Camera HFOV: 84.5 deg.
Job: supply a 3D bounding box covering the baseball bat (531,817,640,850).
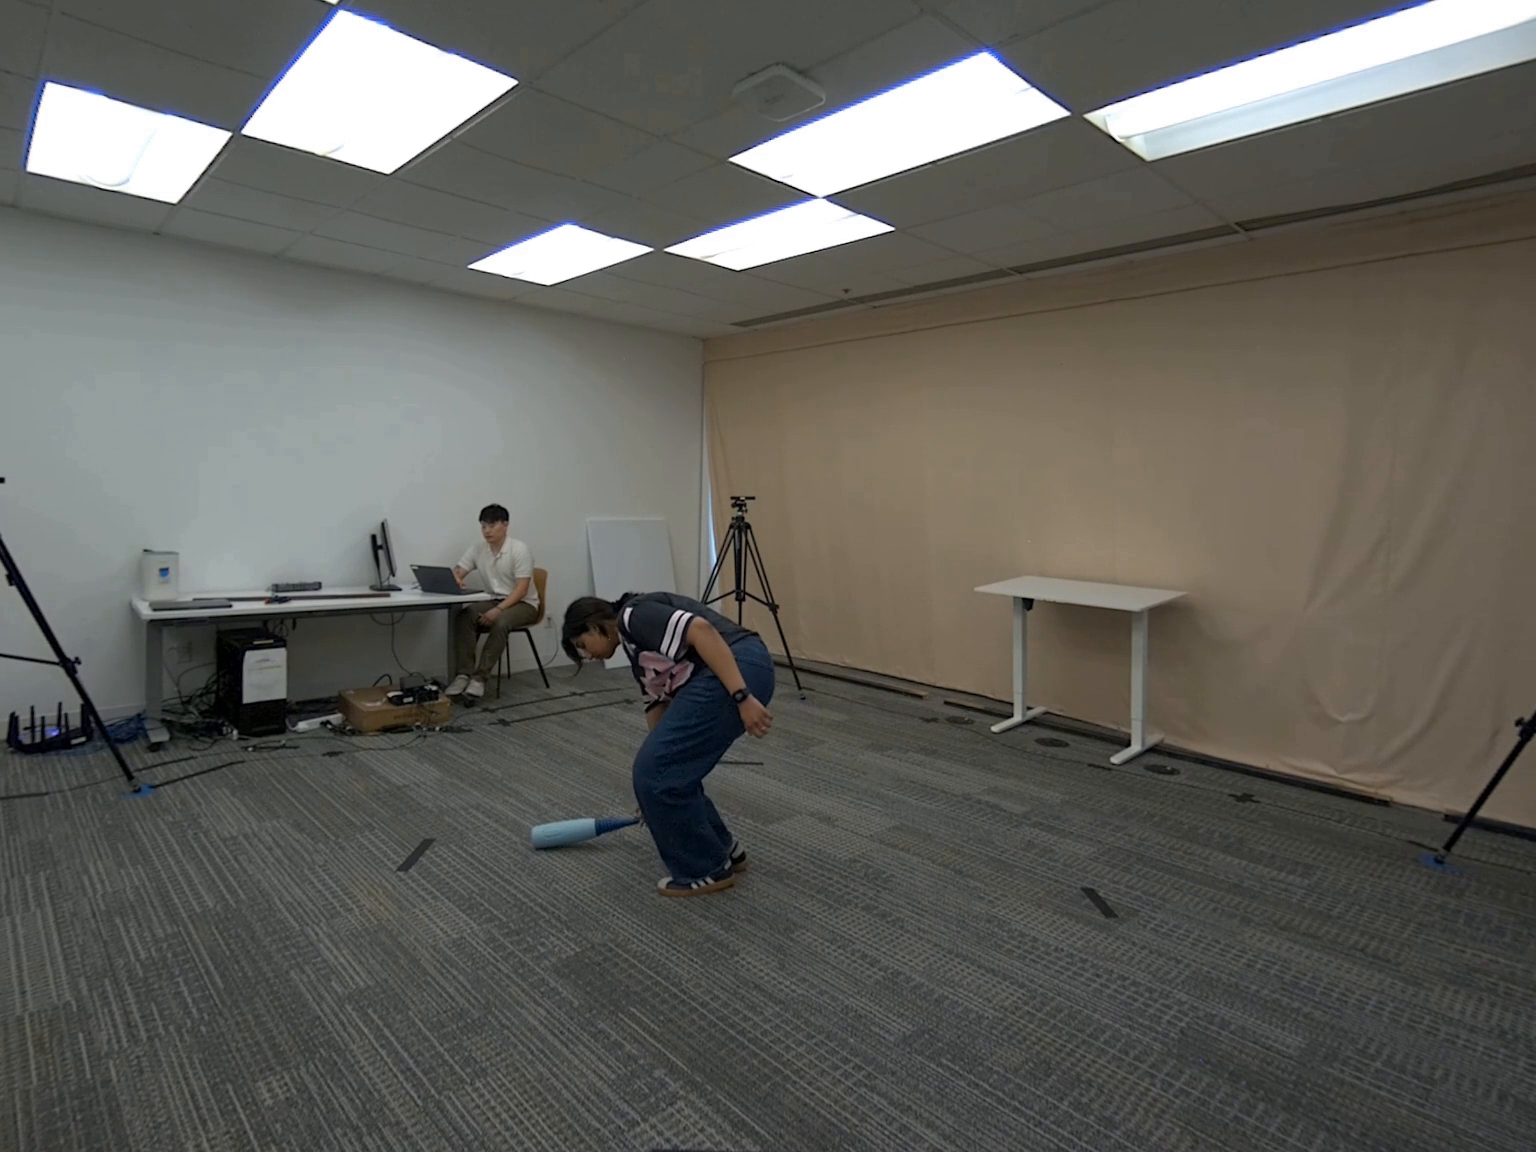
[{"bbox_3d":[-0.664,0.995,3.323,0.541,0.089,0.090,-7,5,-6],"label":"baseball bat"}]
